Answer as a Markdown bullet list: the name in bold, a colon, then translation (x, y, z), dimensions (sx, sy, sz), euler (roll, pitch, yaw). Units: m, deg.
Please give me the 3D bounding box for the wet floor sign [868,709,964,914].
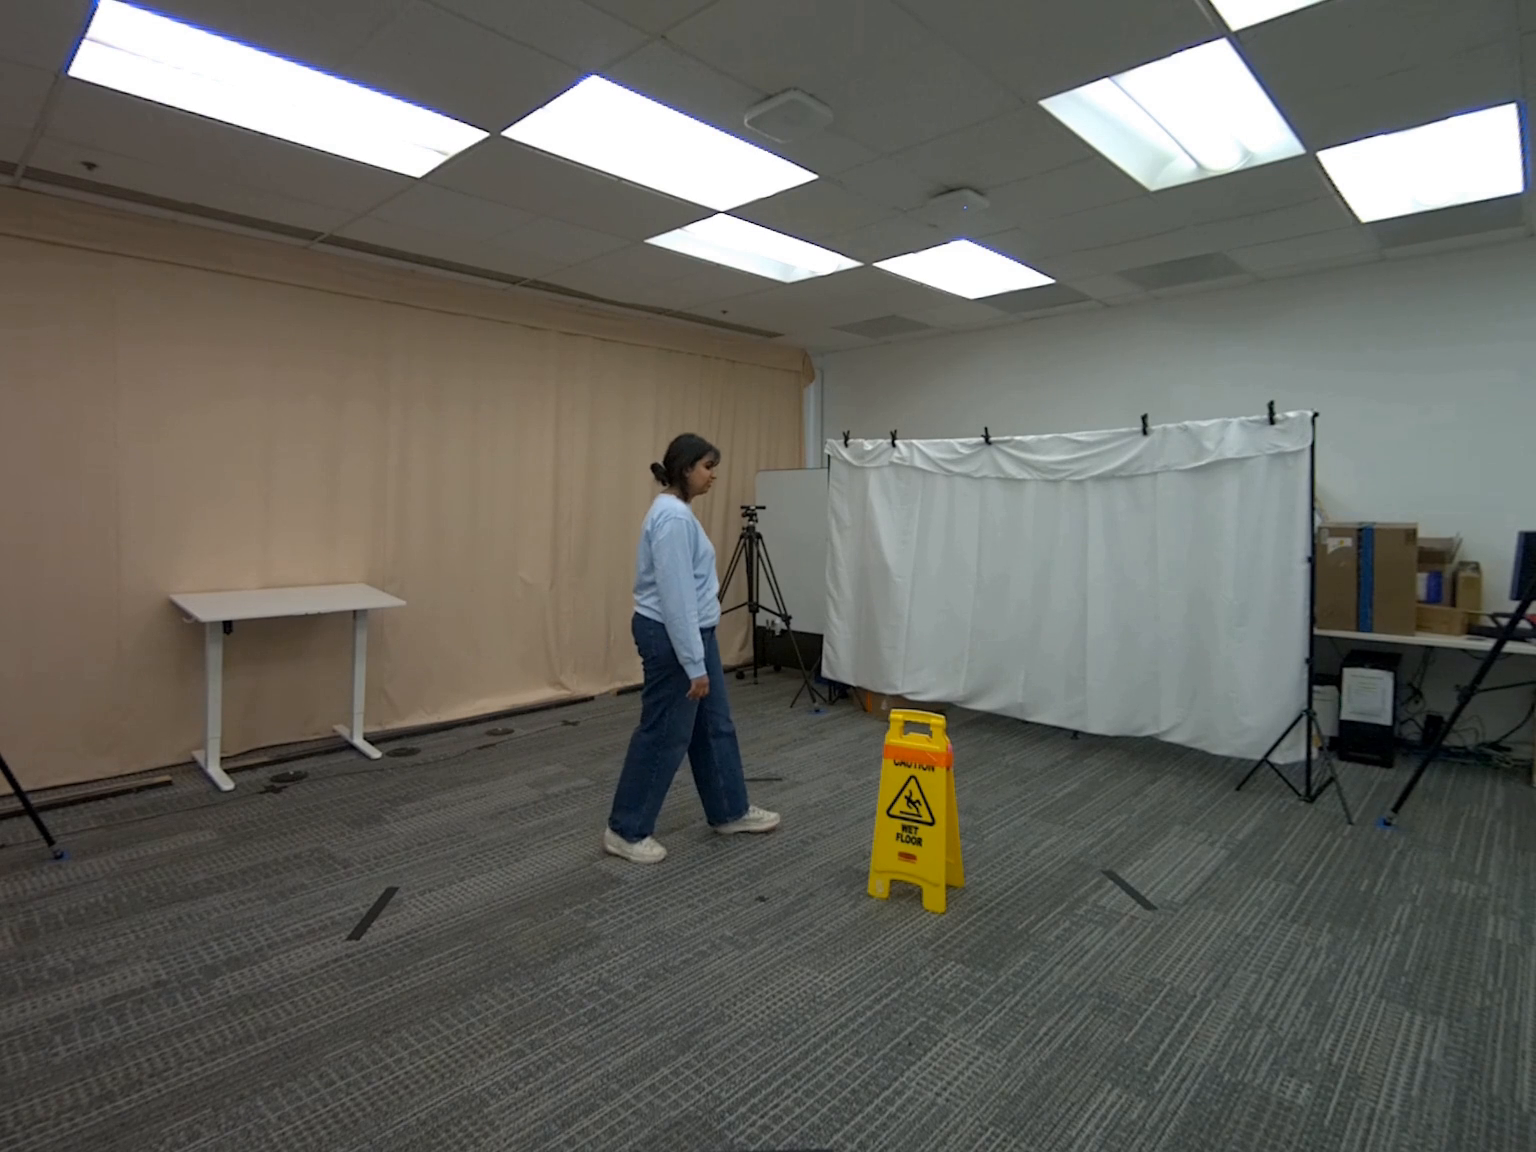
- **wet floor sign**: translation (0.544, 0.813, 3.029), dimensions (0.290, 0.645, 0.282), euler (2, 3, 29)
